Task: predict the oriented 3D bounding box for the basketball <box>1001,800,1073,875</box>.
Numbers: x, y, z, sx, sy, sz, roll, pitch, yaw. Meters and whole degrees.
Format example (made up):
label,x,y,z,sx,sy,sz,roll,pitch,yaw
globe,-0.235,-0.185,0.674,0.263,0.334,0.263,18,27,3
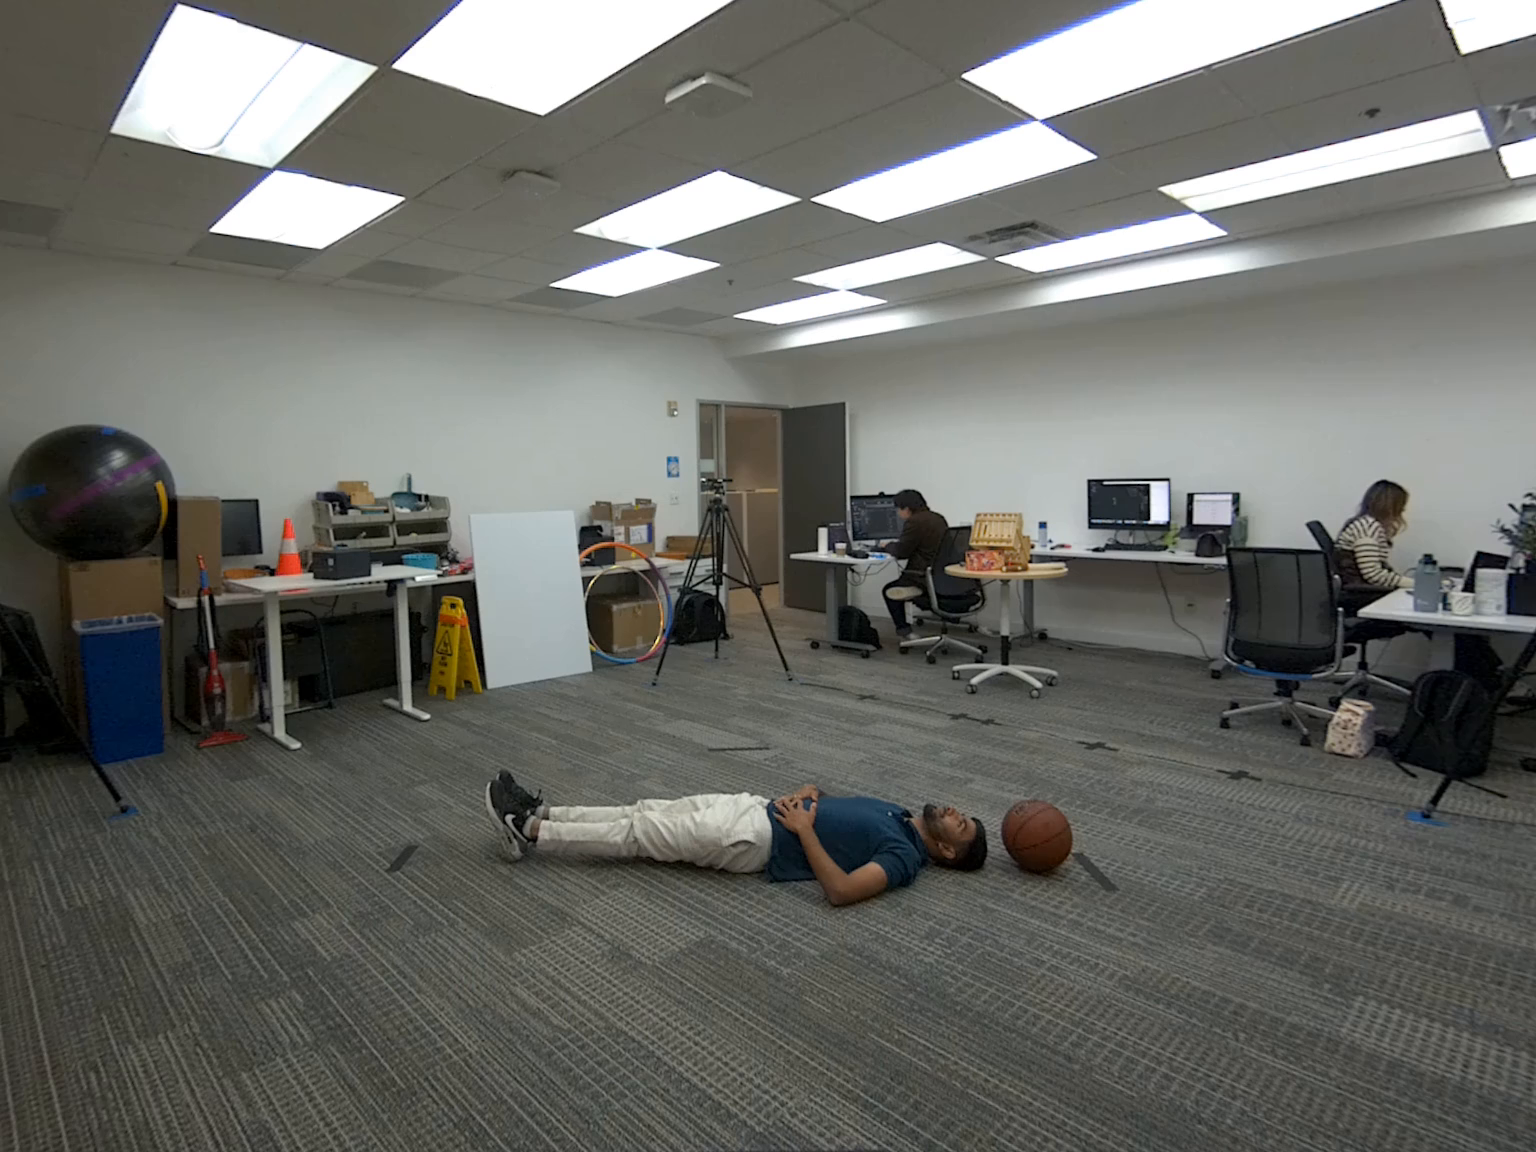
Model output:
label,x,y,z,sx,sy,sz,roll,pitch,yaw
basketball,0.957,0.916,3.028,0.236,0.235,0.237,-1,5,-2
